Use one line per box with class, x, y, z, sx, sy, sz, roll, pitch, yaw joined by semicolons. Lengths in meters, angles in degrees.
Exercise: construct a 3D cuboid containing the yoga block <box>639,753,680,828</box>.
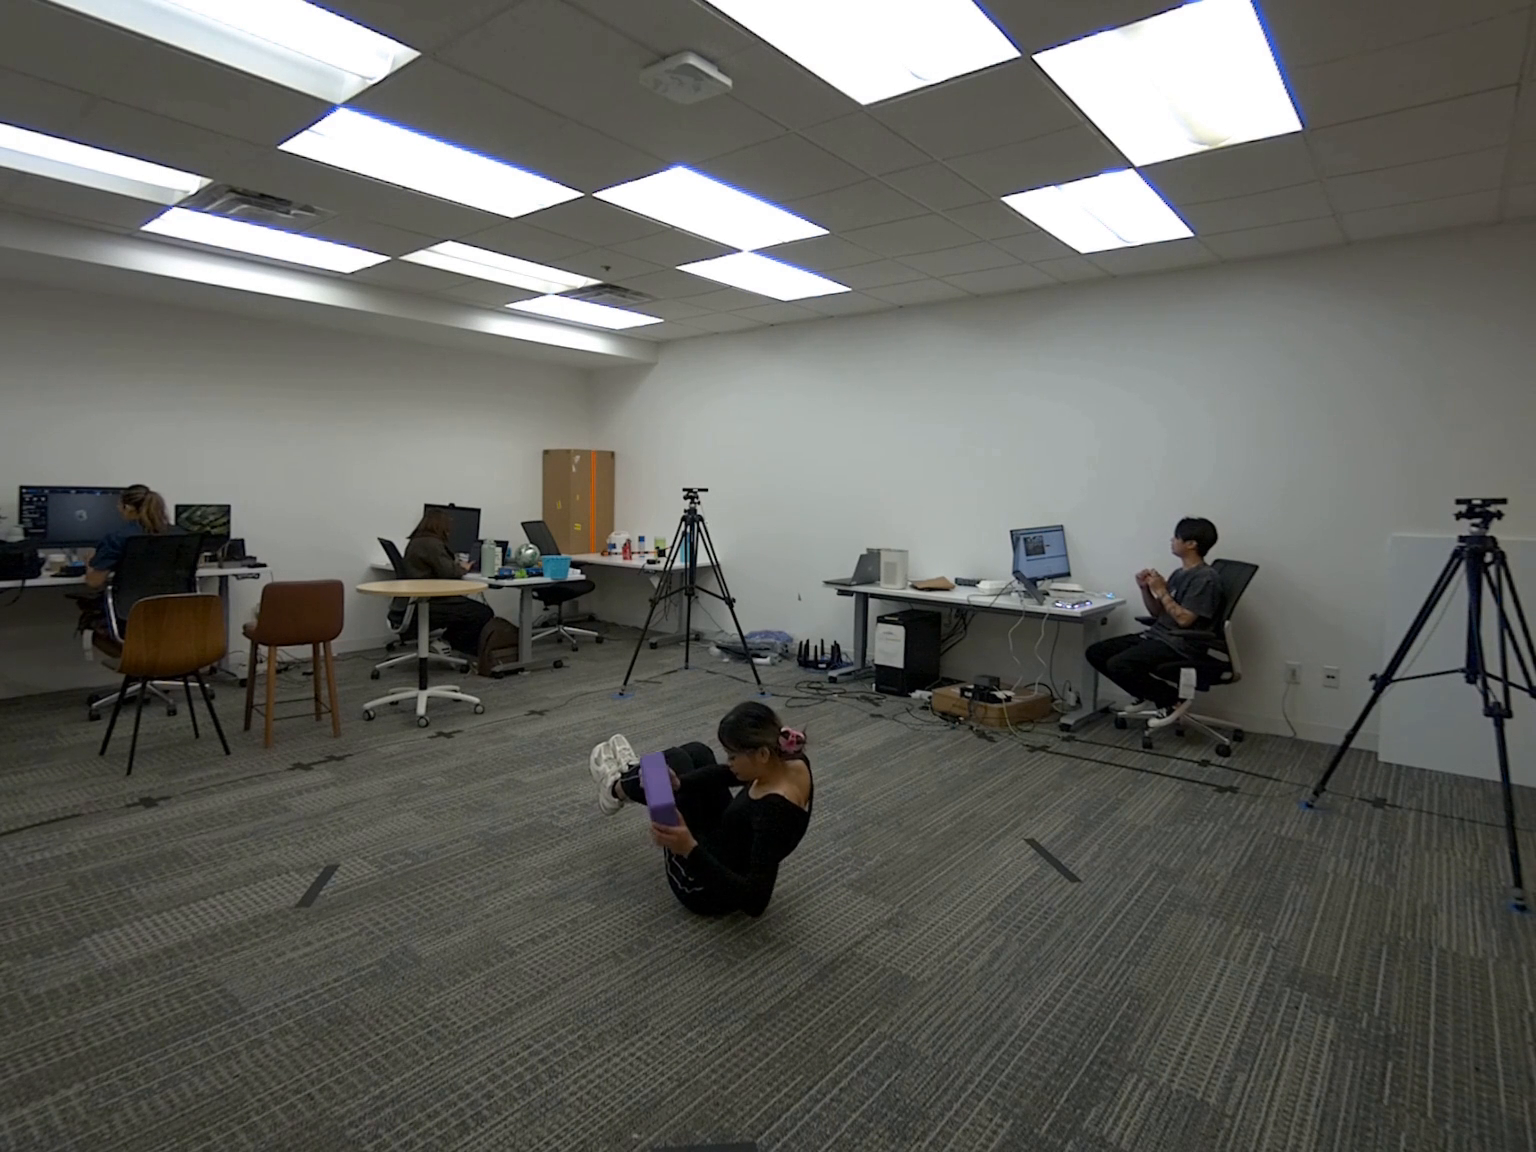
yoga block;-0.321;0.668;2.580;0.076;0.145;0.236;-14;26;-2
